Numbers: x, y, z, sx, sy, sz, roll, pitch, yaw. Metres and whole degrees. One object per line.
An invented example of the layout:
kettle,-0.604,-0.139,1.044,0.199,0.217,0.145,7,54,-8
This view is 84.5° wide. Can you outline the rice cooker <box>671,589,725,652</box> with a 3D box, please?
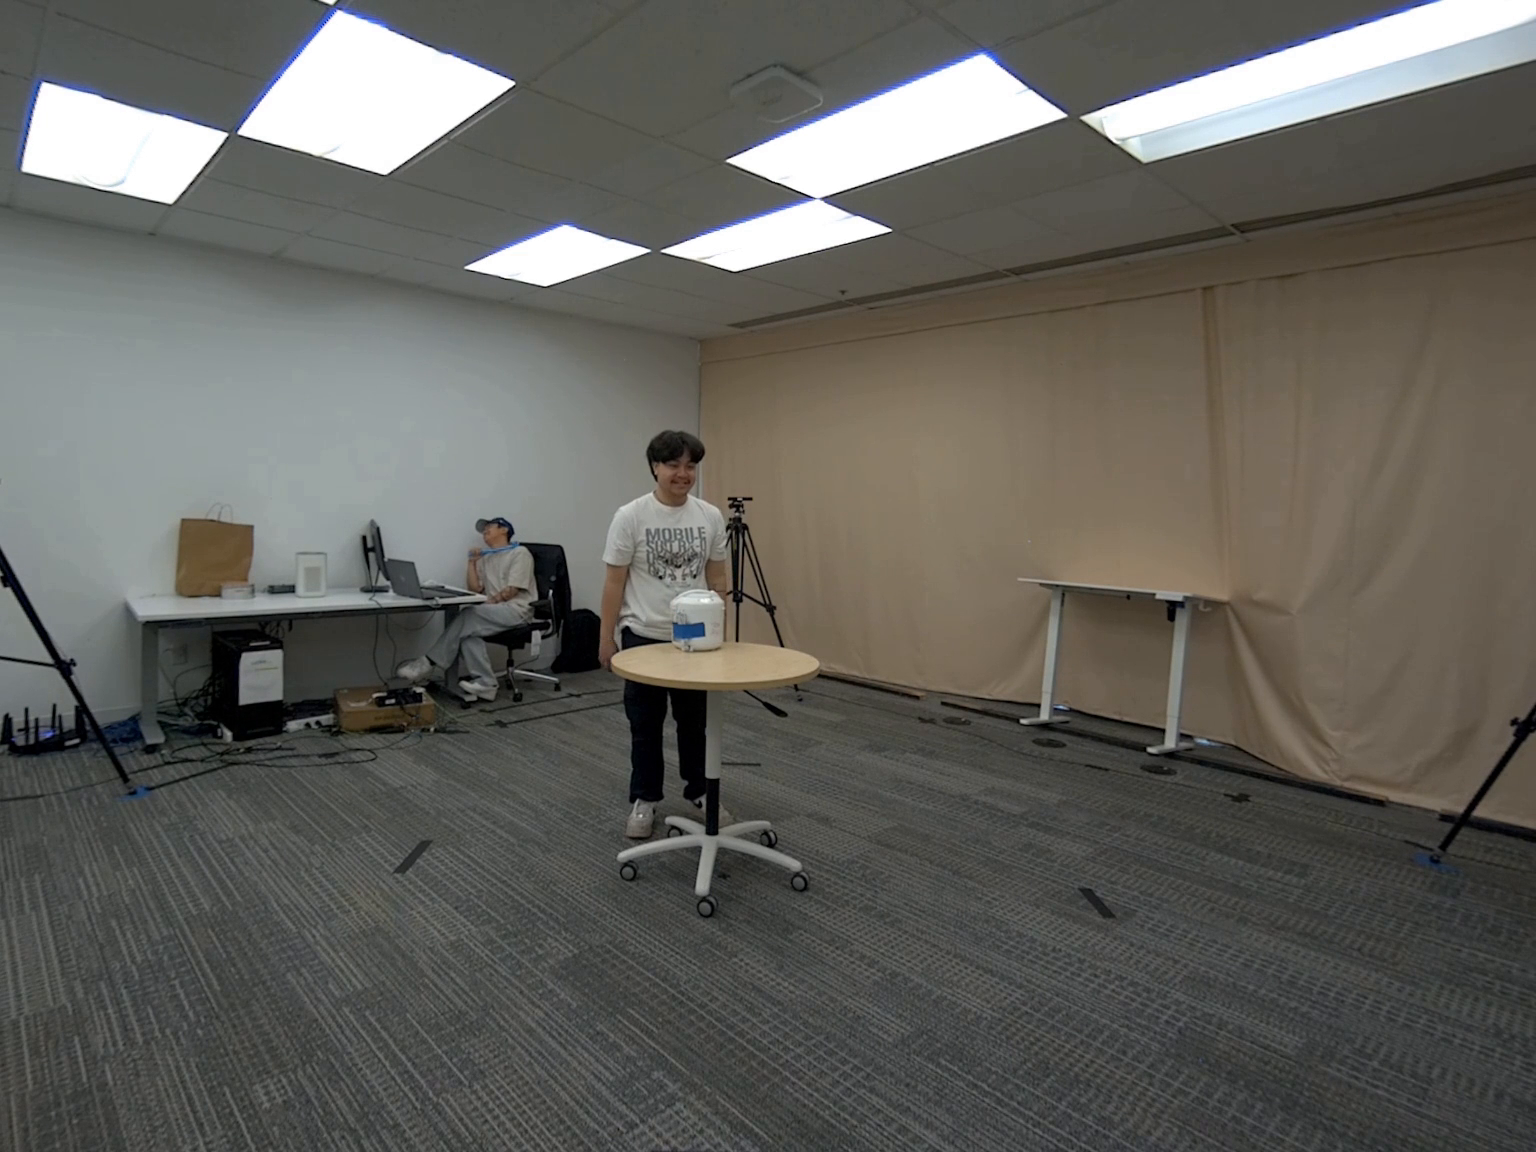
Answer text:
rice cooker,-0.292,0.170,3.340,0.217,0.232,0.221,0,5,-22
